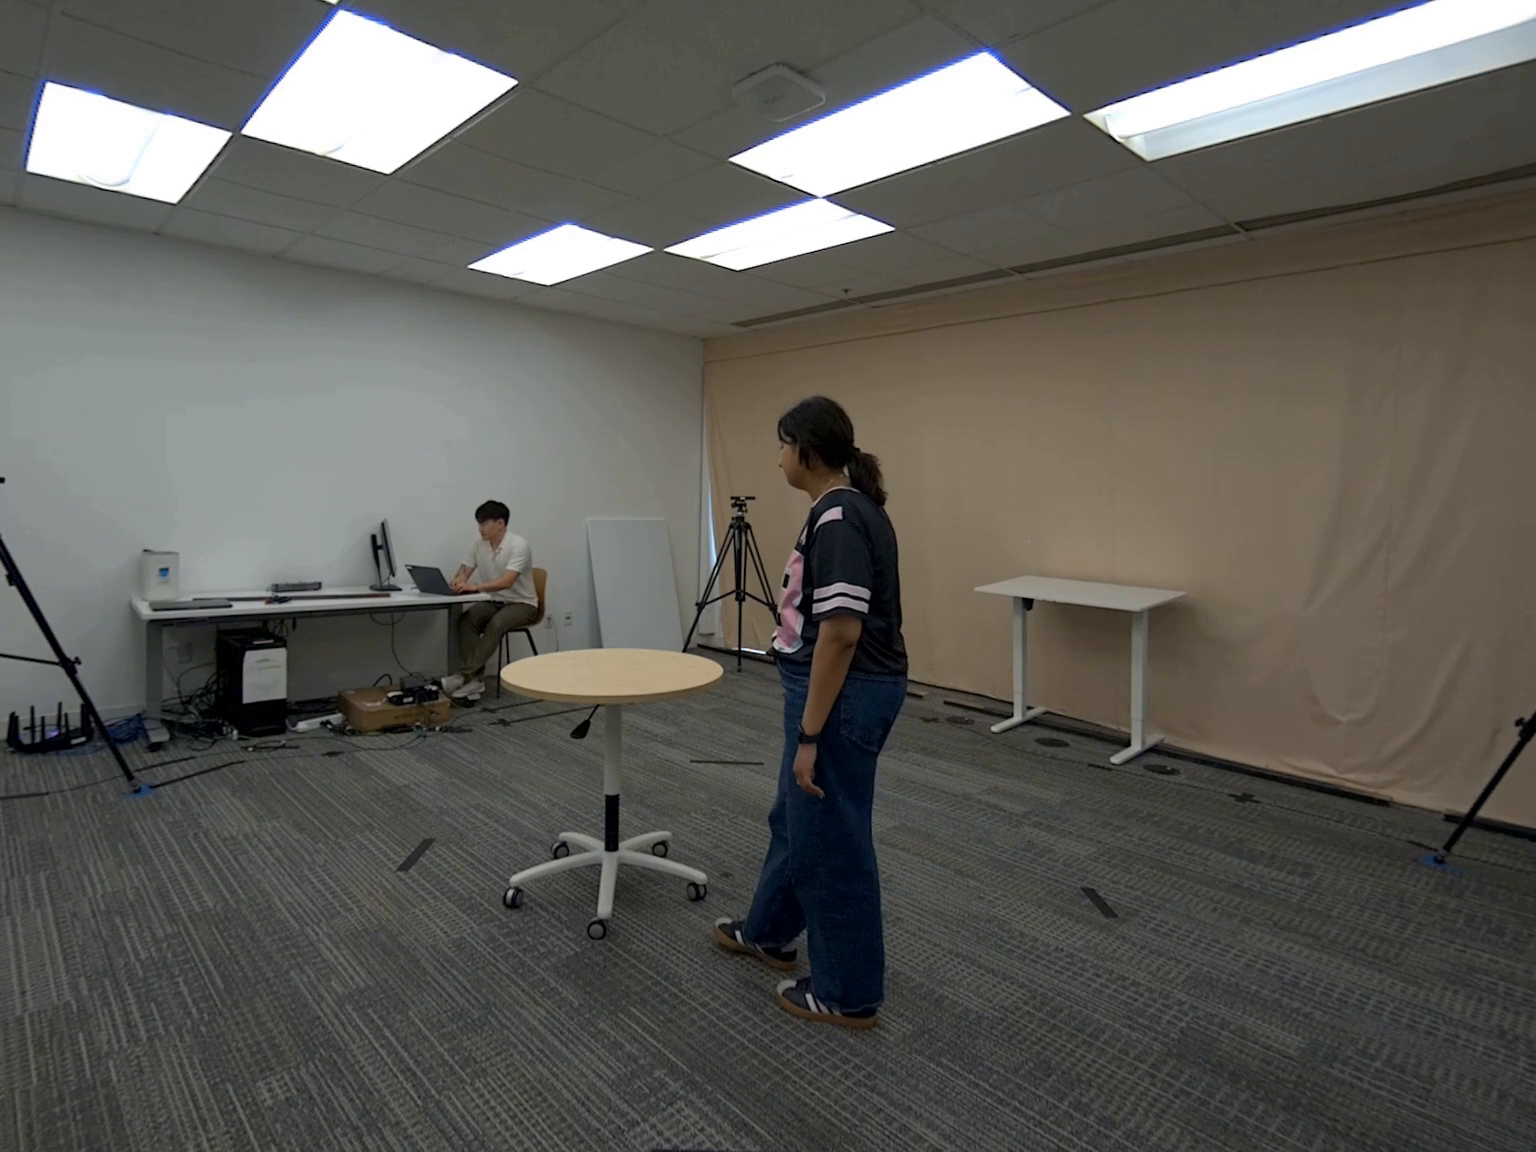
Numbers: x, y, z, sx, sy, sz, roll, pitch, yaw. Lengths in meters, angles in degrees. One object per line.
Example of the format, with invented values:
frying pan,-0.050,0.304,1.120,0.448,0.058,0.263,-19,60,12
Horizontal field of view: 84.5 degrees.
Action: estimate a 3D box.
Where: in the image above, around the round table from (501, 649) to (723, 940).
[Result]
round table,-0.556,0.718,2.945,0.784,0.784,0.788,1,4,-1
